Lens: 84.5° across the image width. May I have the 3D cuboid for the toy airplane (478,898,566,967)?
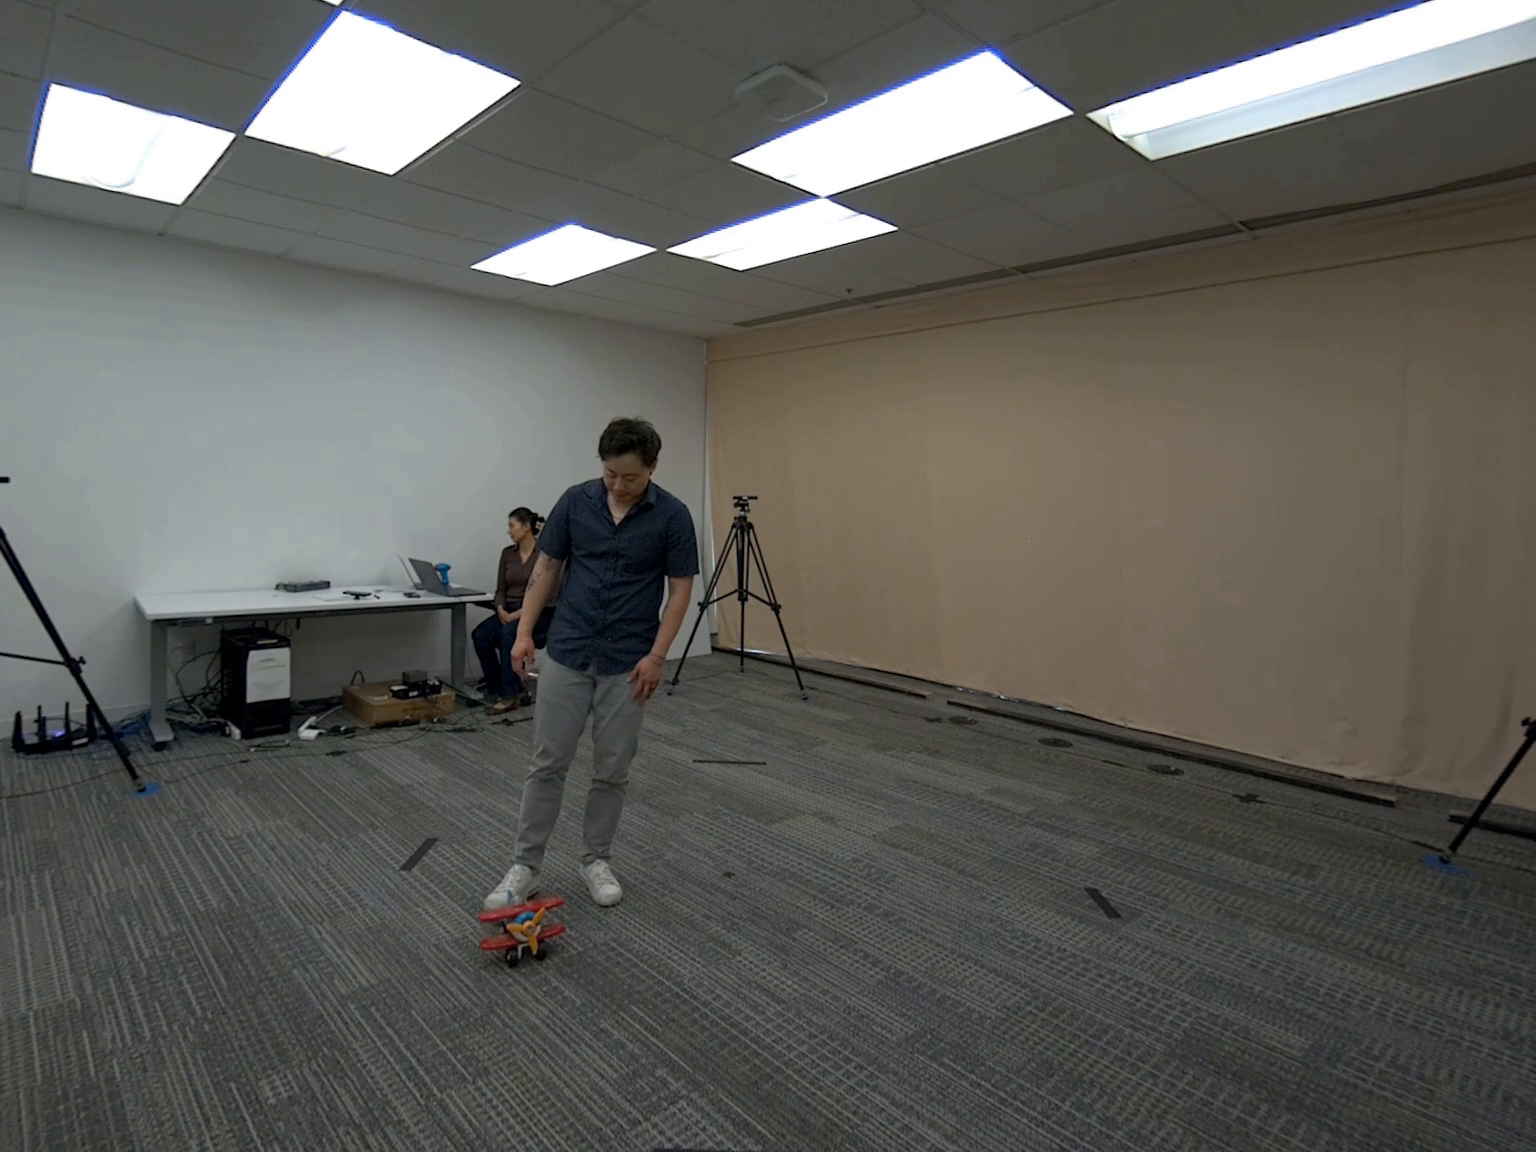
[{"bbox_3d":[-0.784,1.073,2.556,0.265,0.155,0.246,6,9,33],"label":"toy airplane"}]
